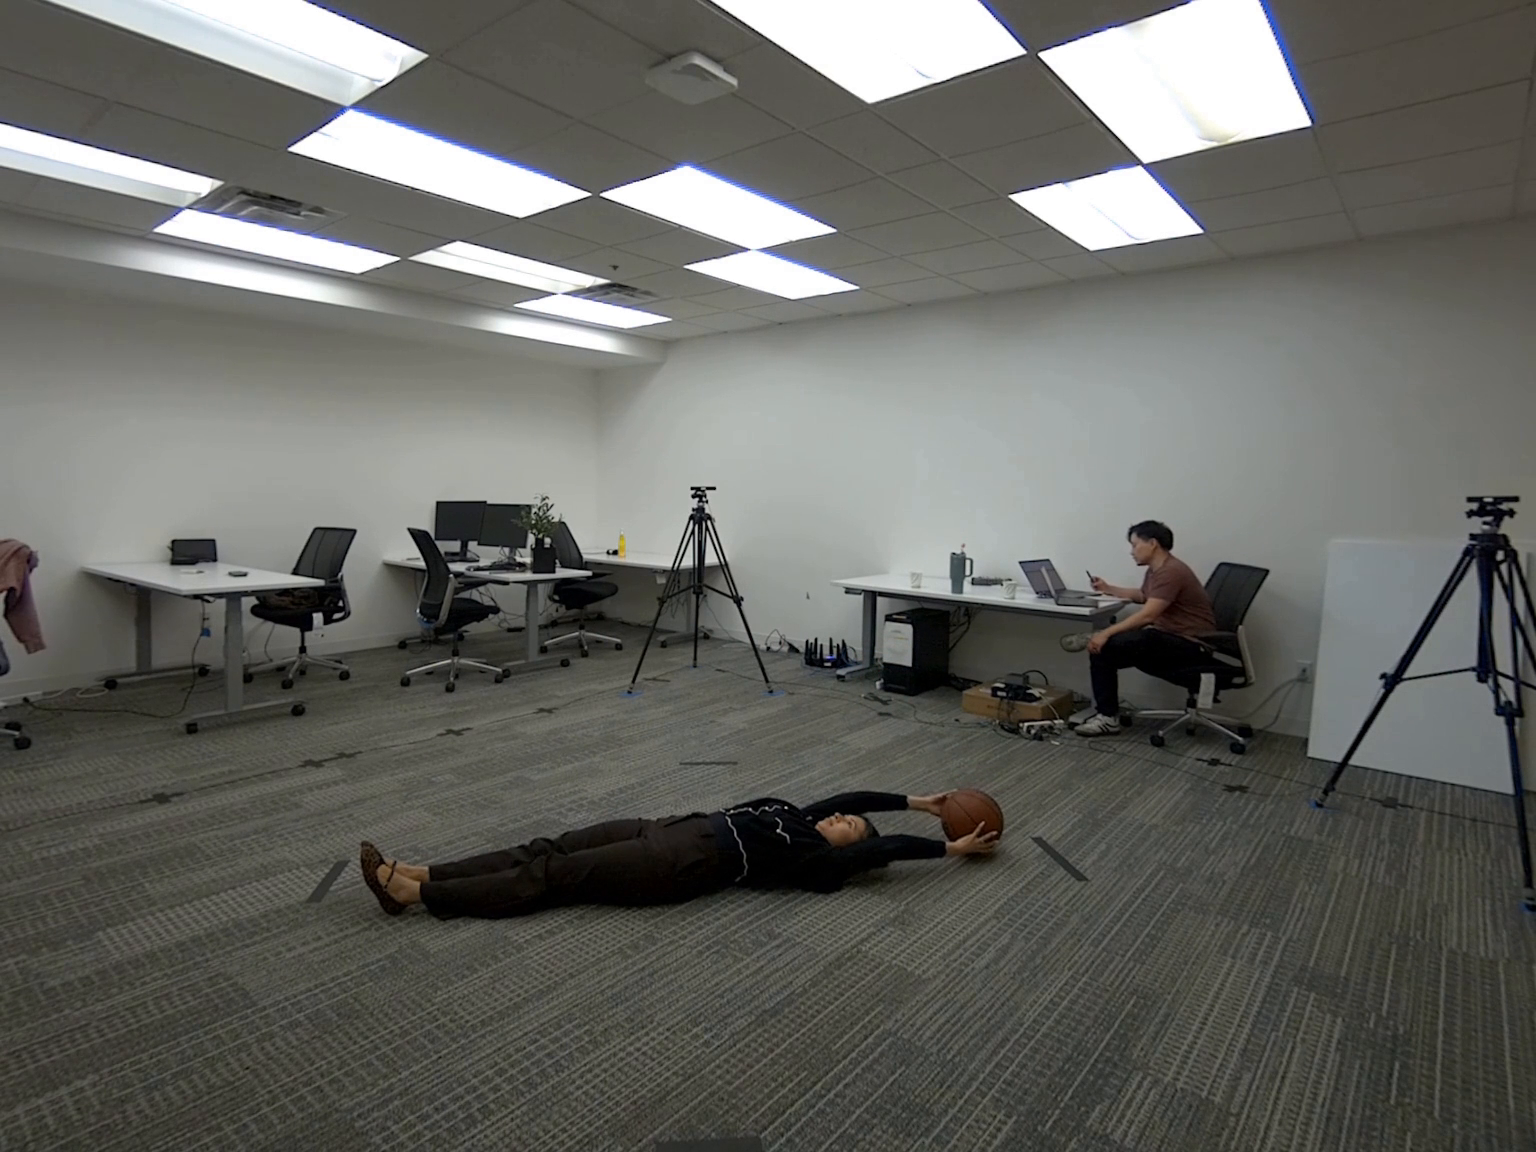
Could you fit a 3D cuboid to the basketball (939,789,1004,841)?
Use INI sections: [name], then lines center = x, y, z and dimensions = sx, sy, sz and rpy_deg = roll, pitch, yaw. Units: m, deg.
[basketball]
center = 0.790, 0.946, 3.318
dimensions = 0.236, 0.235, 0.237
rpy_deg = 1, 4, -2
